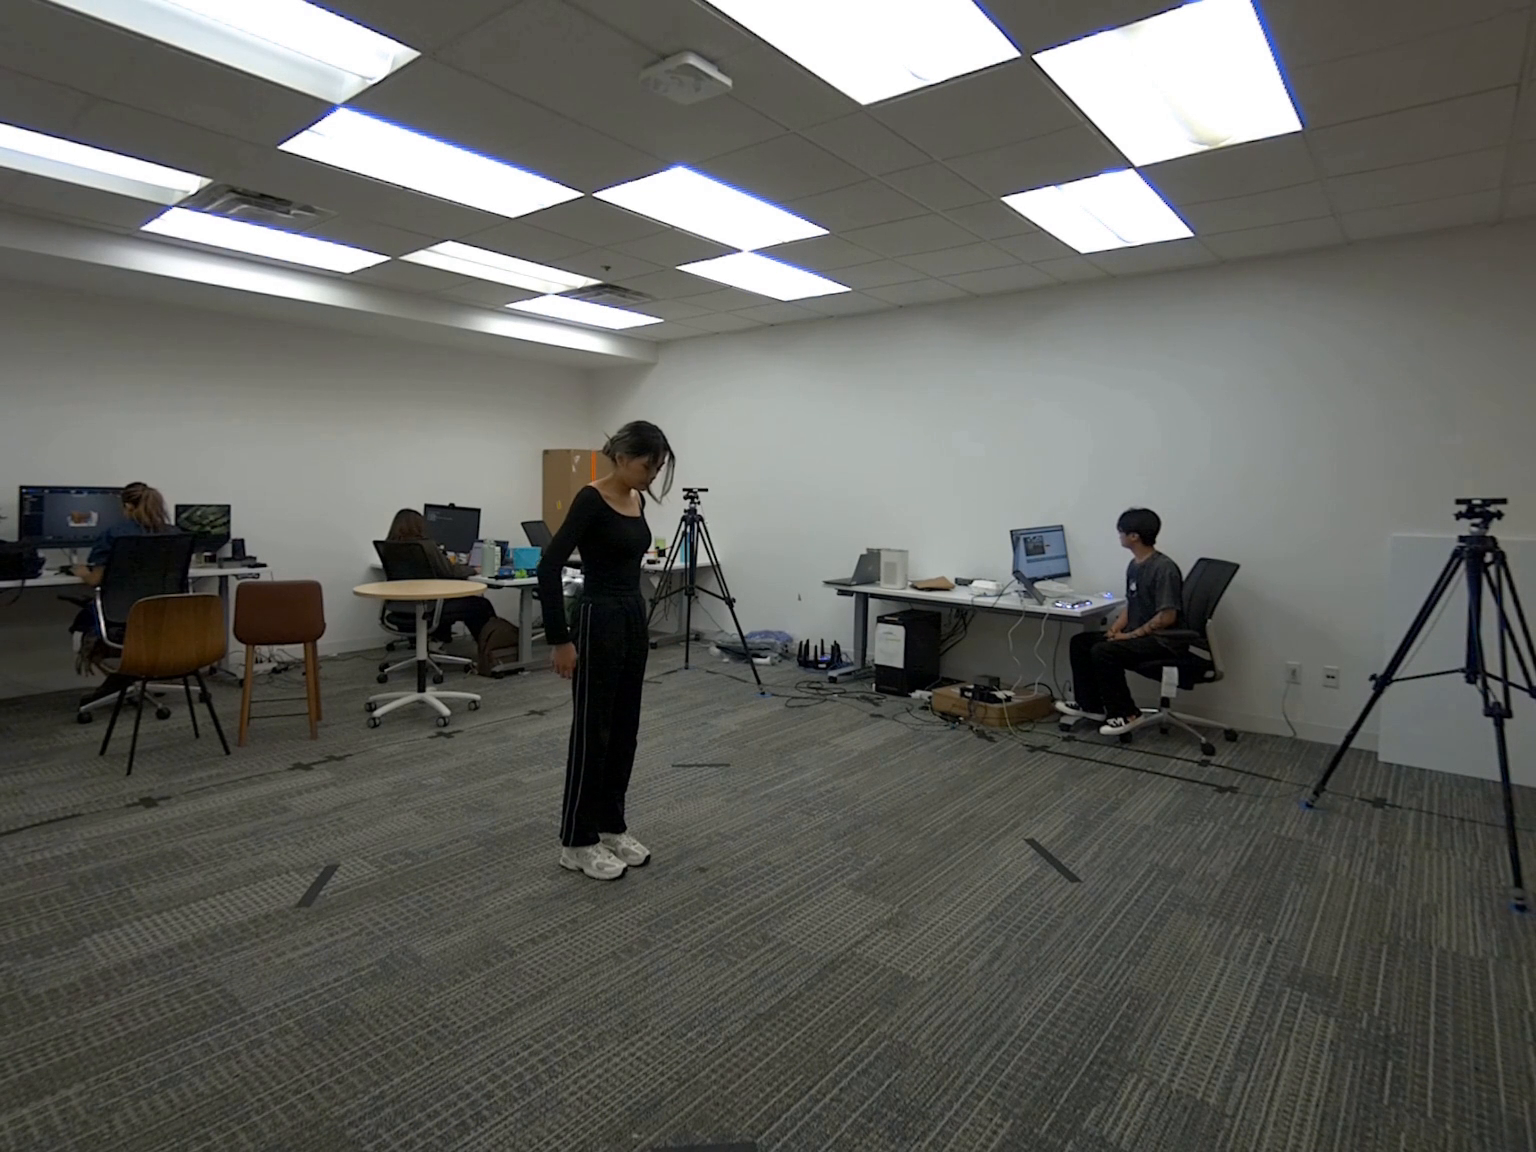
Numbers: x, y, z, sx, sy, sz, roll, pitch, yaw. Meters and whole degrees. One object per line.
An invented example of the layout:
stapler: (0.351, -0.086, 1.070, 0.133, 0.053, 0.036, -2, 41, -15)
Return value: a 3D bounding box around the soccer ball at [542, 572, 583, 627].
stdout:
soccer ball: (-0.764, 0.087, 3.263, 0.187, 0.187, 0.188, 1, 4, -2)
